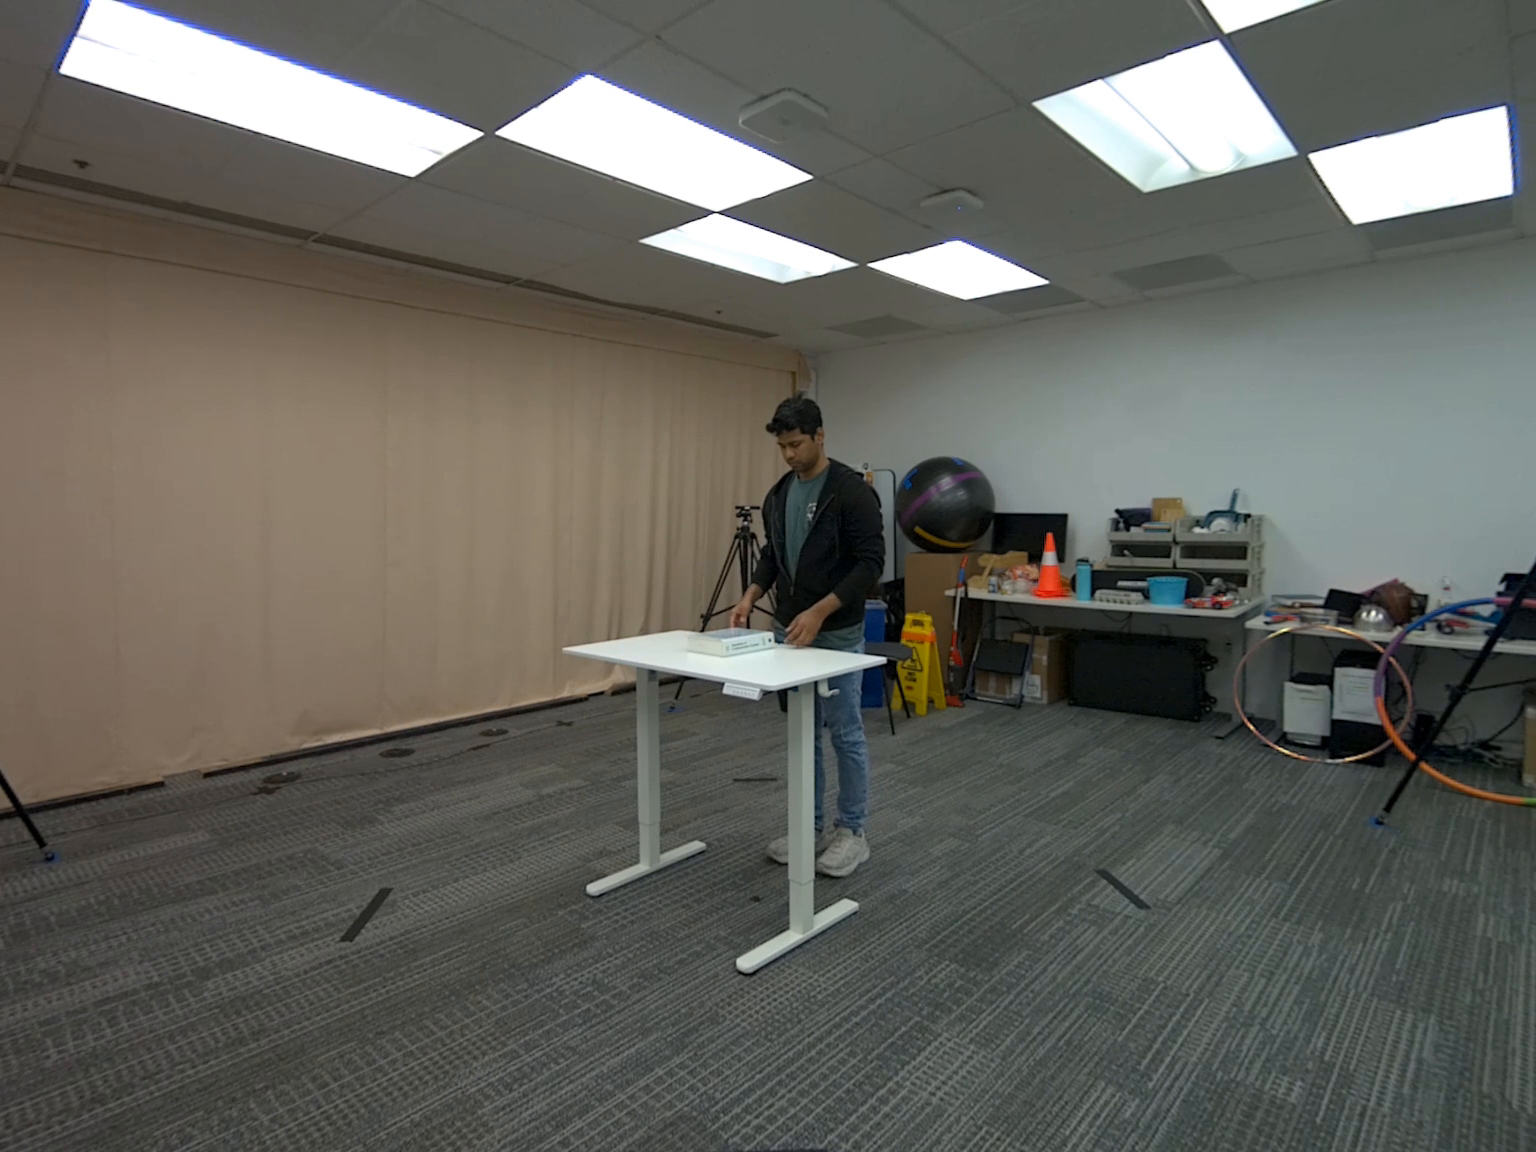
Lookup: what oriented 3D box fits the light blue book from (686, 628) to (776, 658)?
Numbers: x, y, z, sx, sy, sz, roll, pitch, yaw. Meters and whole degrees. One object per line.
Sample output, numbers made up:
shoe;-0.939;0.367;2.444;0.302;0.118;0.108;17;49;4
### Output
light blue book;-0.137;0.238;2.991;0.198;0.059;0.253;5;6;43
